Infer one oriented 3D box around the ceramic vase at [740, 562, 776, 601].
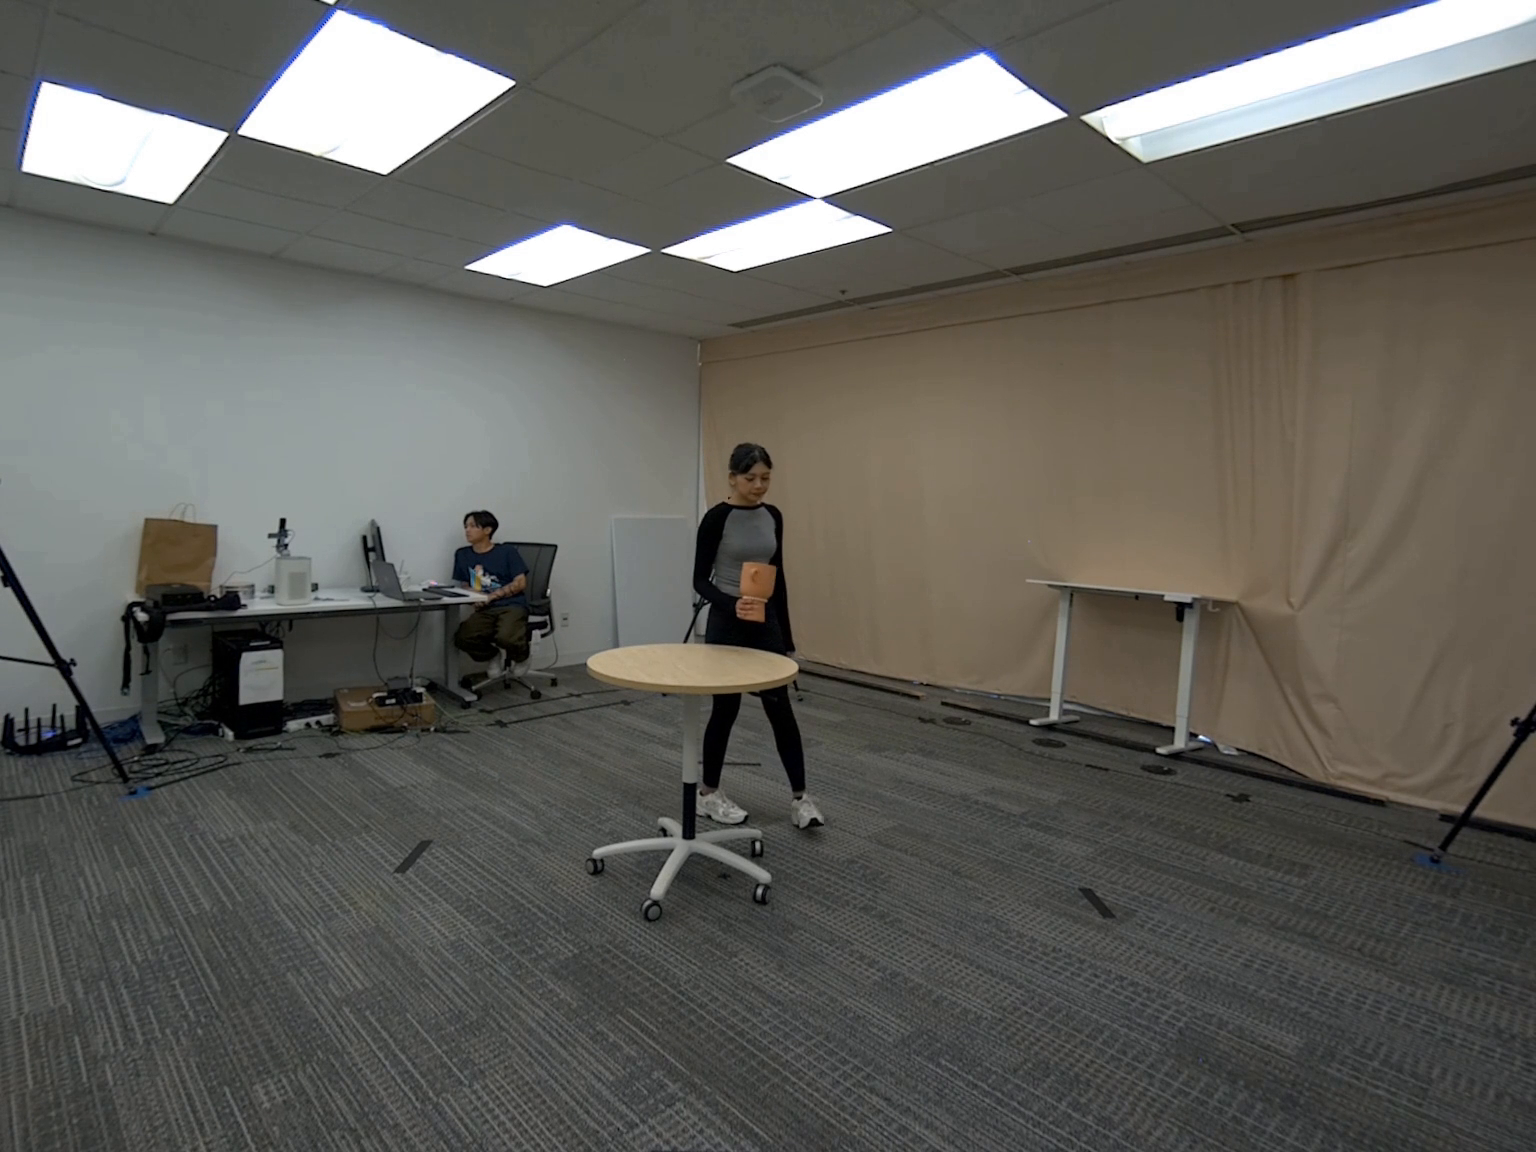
[{"bbox_3d":[-0.061,0.064,3.314,0.155,0.220,0.138,11,-6,-36],"label":"ceramic vase"}]
